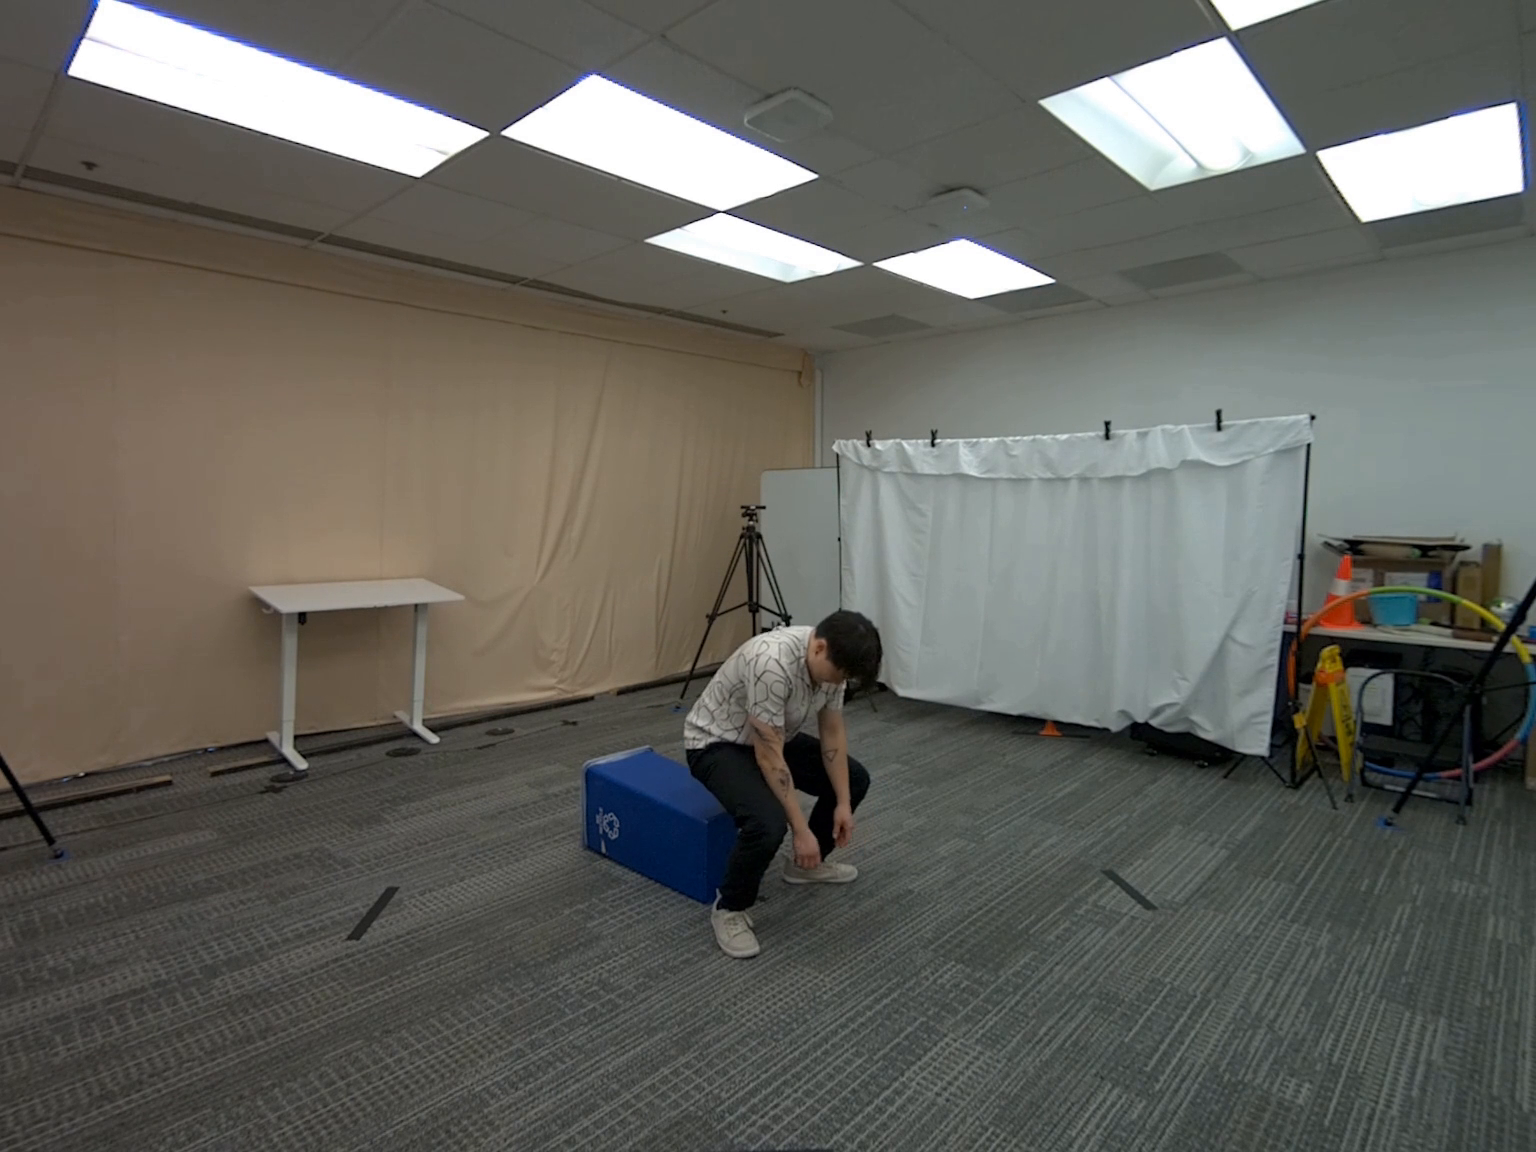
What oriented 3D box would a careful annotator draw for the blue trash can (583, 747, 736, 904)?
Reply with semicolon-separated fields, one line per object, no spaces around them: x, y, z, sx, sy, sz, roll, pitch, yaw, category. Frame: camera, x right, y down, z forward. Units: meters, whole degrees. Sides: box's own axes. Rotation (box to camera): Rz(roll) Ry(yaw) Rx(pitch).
-0.369;0.948;3.269;0.362;0.377;0.738;-4;7;-44;blue trash can
